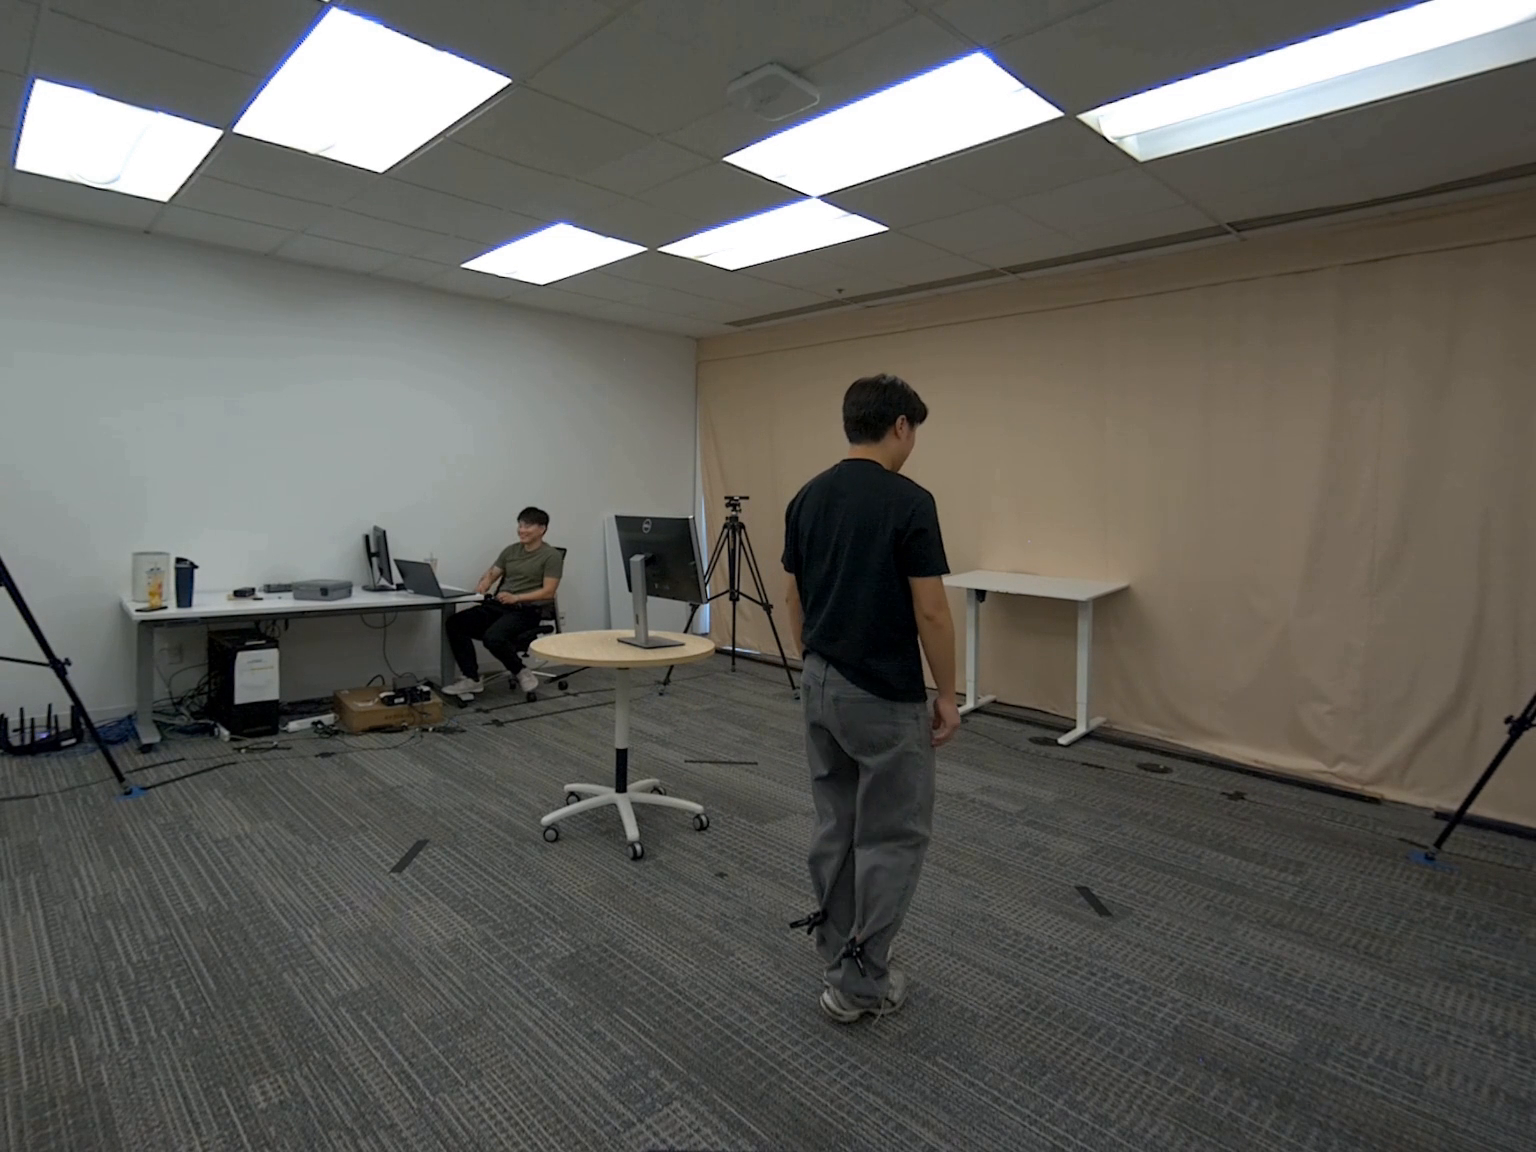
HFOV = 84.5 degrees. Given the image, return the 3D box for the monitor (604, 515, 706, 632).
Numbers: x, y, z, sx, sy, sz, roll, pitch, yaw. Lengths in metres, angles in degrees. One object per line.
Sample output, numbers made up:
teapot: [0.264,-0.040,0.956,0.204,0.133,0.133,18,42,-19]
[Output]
monitor: [-0.512,0.019,3.523,0.206,0.551,0.580,-9,10,-41]
